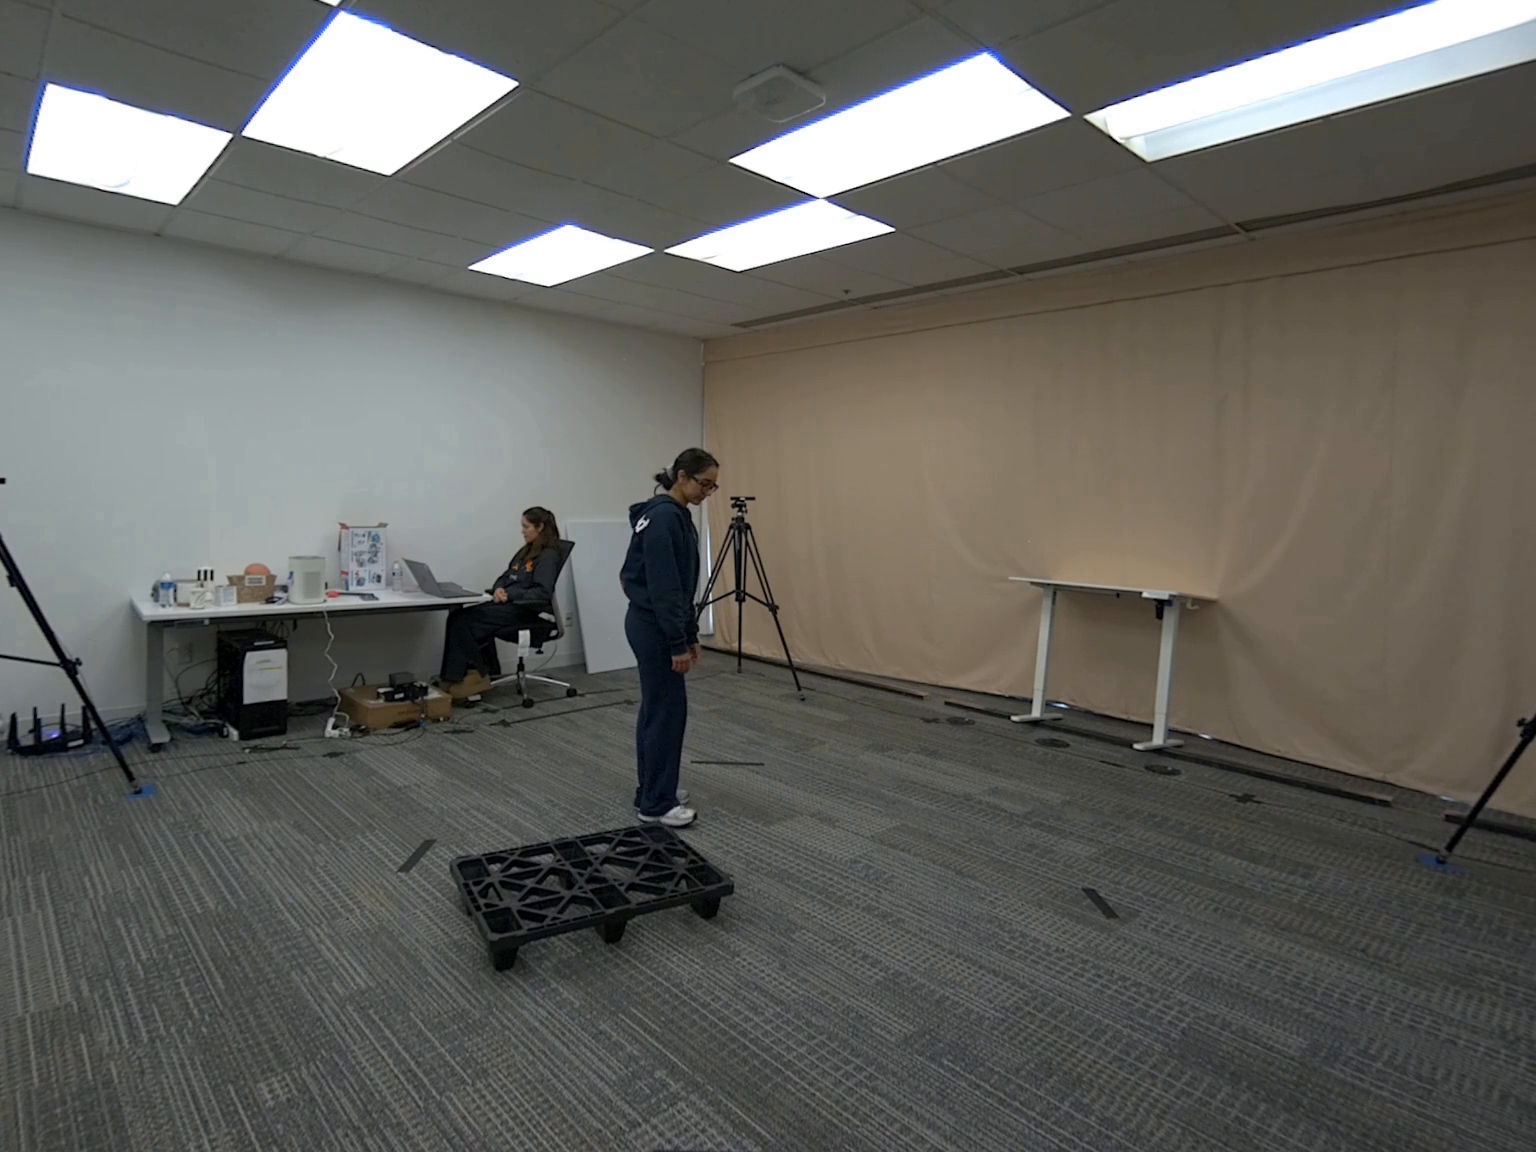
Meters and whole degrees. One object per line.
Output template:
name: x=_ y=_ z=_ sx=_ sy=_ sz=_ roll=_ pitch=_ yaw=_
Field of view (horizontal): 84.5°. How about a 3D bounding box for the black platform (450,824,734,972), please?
black platform: x=-0.599 y=1.056 z=2.817 sx=0.789 sy=0.143 sz=0.619 roll=-2 pitch=7 yaw=-31
